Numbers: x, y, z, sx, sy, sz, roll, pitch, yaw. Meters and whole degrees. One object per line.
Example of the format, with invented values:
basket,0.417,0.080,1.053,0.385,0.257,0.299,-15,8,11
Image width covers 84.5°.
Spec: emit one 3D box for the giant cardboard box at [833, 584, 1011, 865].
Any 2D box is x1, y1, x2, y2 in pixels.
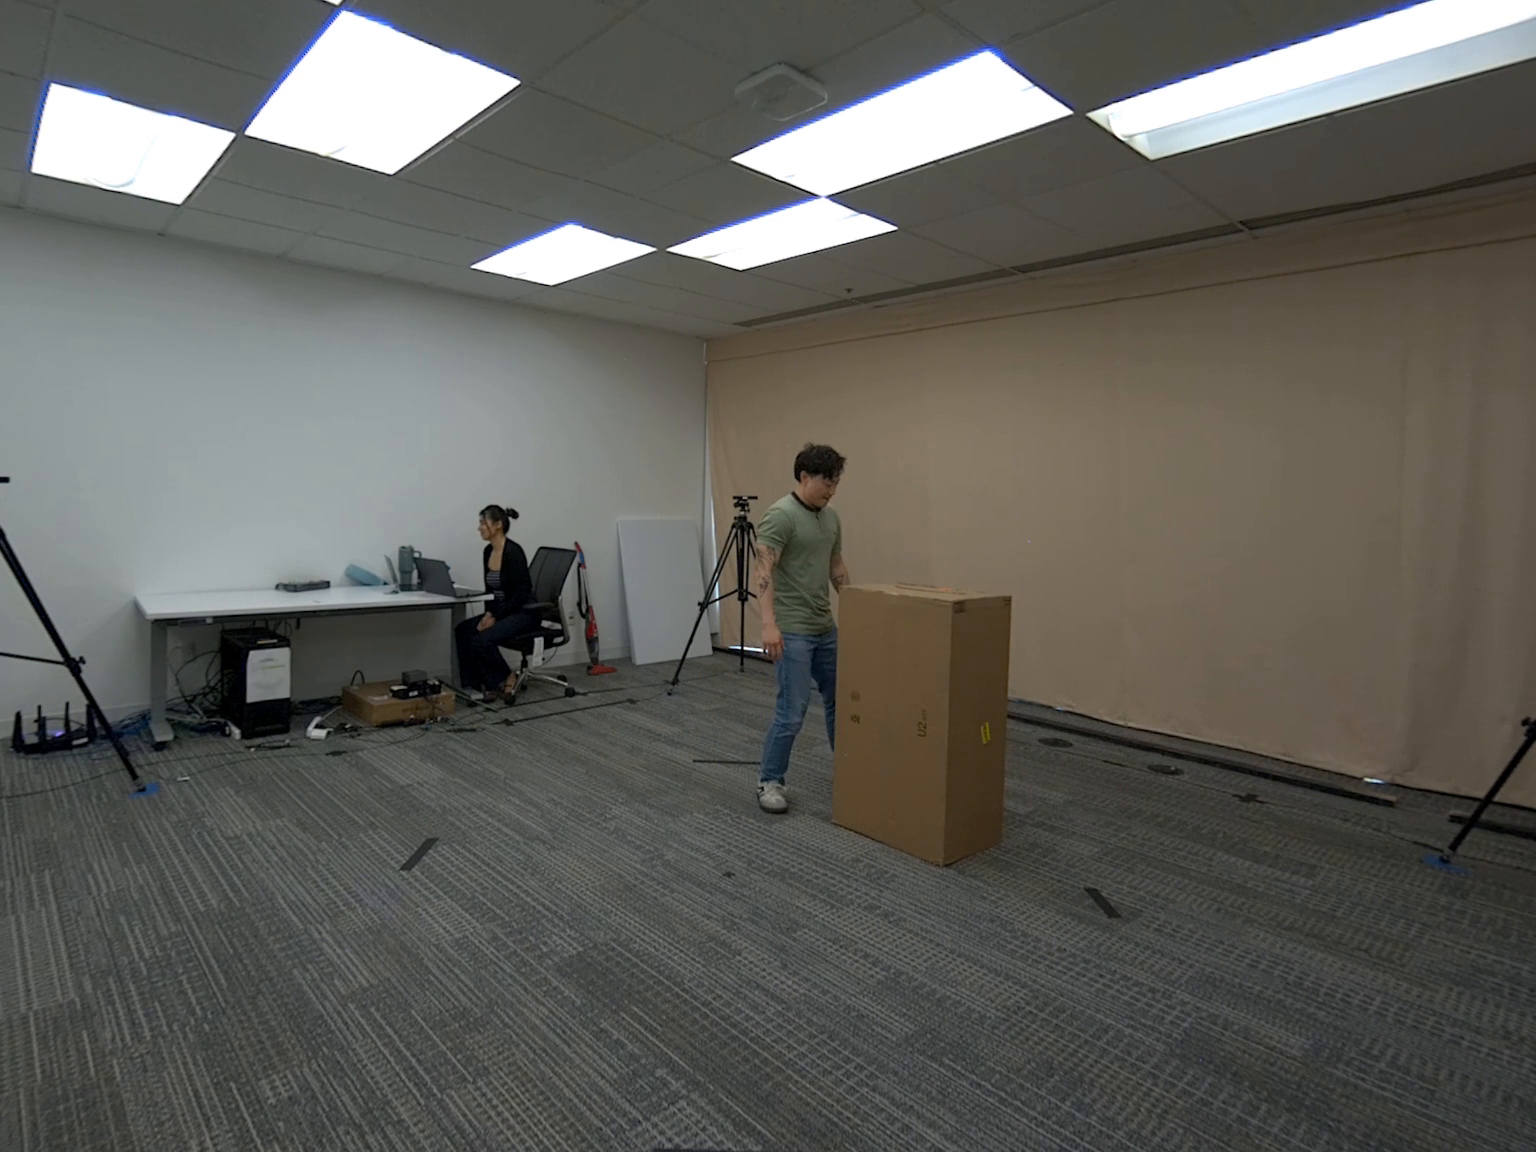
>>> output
giant cardboard box,0.631,0.571,3.543,0.416,1.024,0.592,0,4,-42
